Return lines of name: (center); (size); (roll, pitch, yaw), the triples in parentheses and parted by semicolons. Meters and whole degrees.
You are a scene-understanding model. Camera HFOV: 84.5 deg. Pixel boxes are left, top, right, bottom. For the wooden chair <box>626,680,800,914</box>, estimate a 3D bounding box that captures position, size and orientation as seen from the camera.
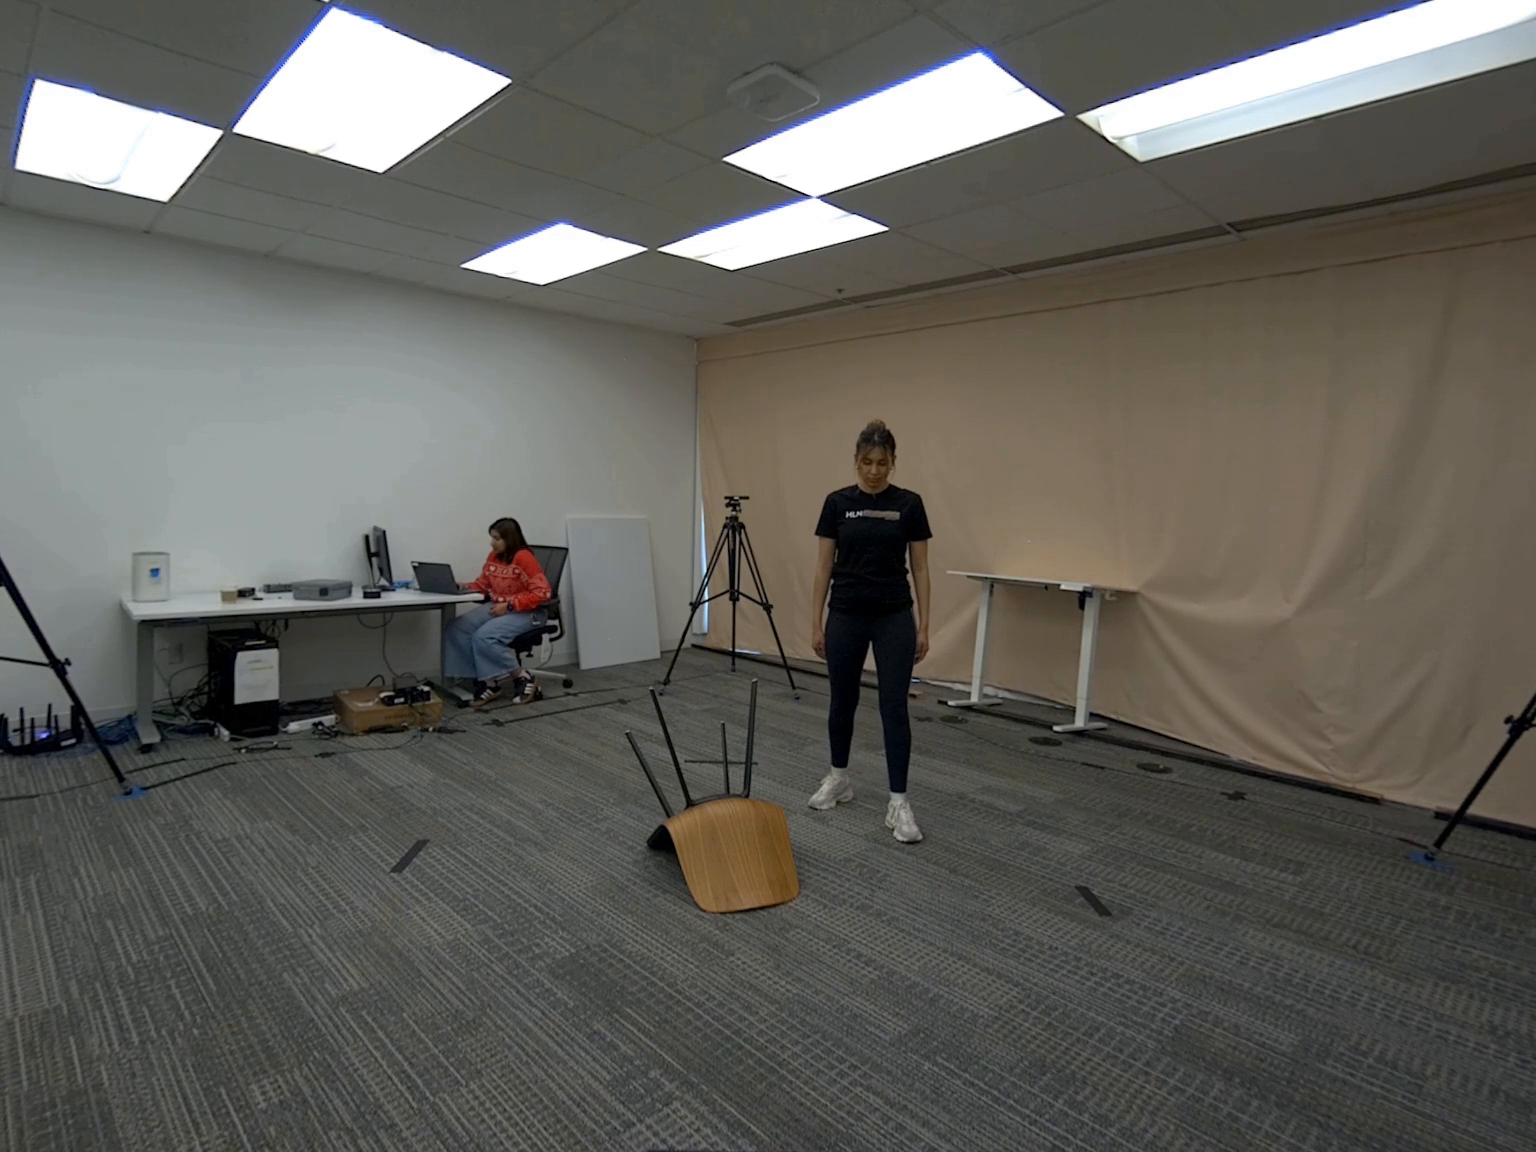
wooden chair: (-0.229, 0.914, 3.274); (0.470, 0.900, 0.518); (-1, -36, -24)
